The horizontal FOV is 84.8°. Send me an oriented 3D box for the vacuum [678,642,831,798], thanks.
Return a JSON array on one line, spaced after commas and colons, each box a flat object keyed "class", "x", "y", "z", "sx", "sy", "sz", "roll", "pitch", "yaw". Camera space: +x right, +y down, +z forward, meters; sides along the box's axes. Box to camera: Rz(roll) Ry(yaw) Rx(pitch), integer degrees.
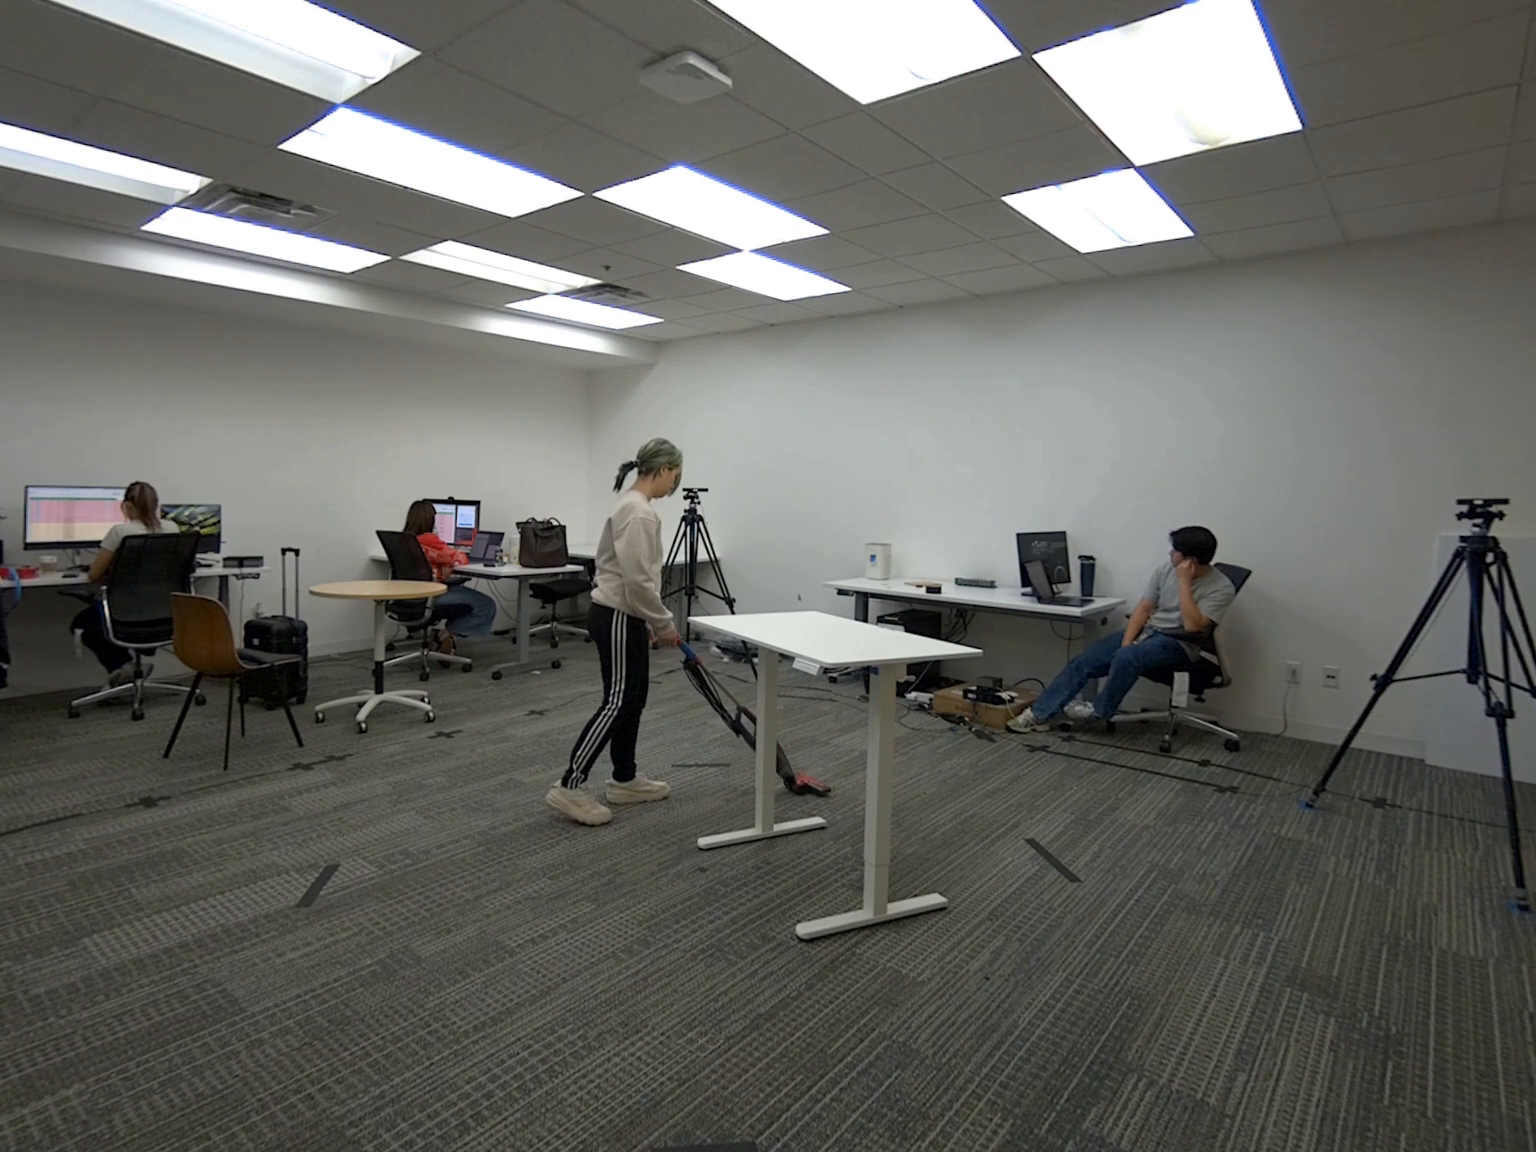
[{"class": "vacuum", "x": -0.149, "y": 0.629, "z": 3.793, "sx": 1.020, "sy": 0.144, "sz": 0.259, "roll": 48, "pitch": -22, "yaw": -21}]
